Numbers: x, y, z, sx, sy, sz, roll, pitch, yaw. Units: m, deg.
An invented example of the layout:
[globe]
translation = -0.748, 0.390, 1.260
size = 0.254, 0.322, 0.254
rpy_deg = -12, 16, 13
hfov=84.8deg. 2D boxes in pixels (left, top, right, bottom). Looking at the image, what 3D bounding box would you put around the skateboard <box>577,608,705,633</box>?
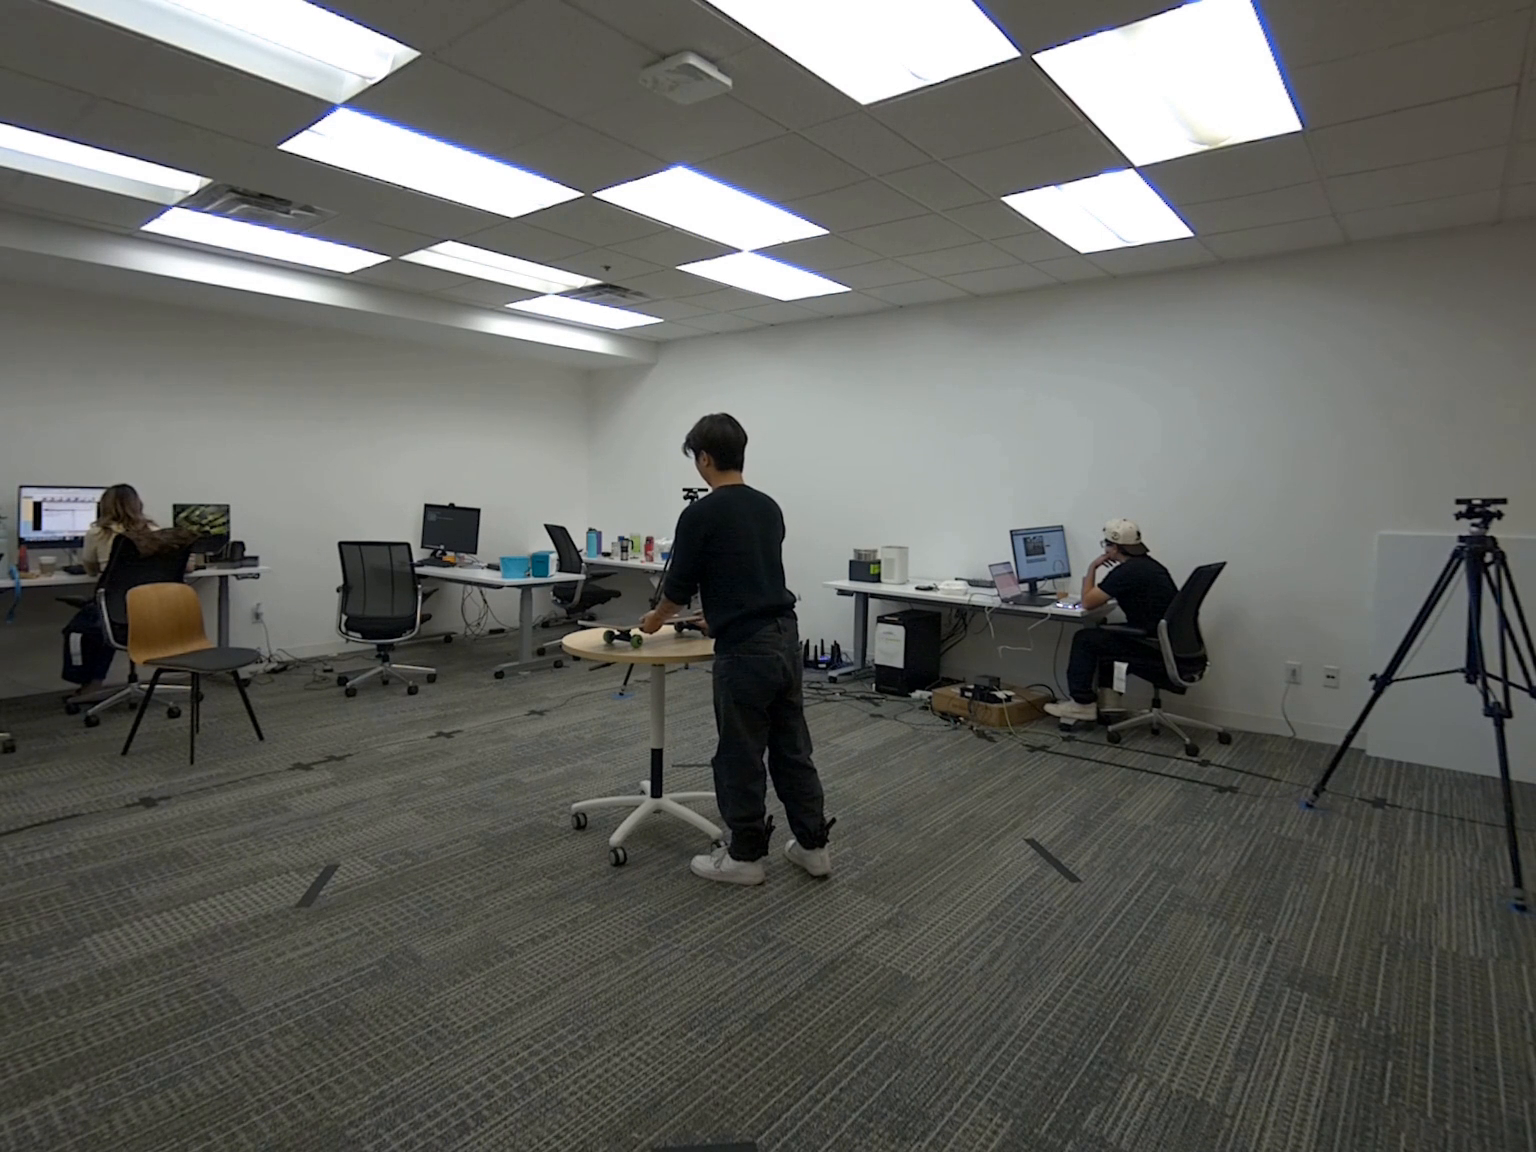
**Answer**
[skateboard]
translation = -0.441, 0.206, 3.433
size = 0.200, 0.110, 0.762
rpy_deg = 5, 6, 39
